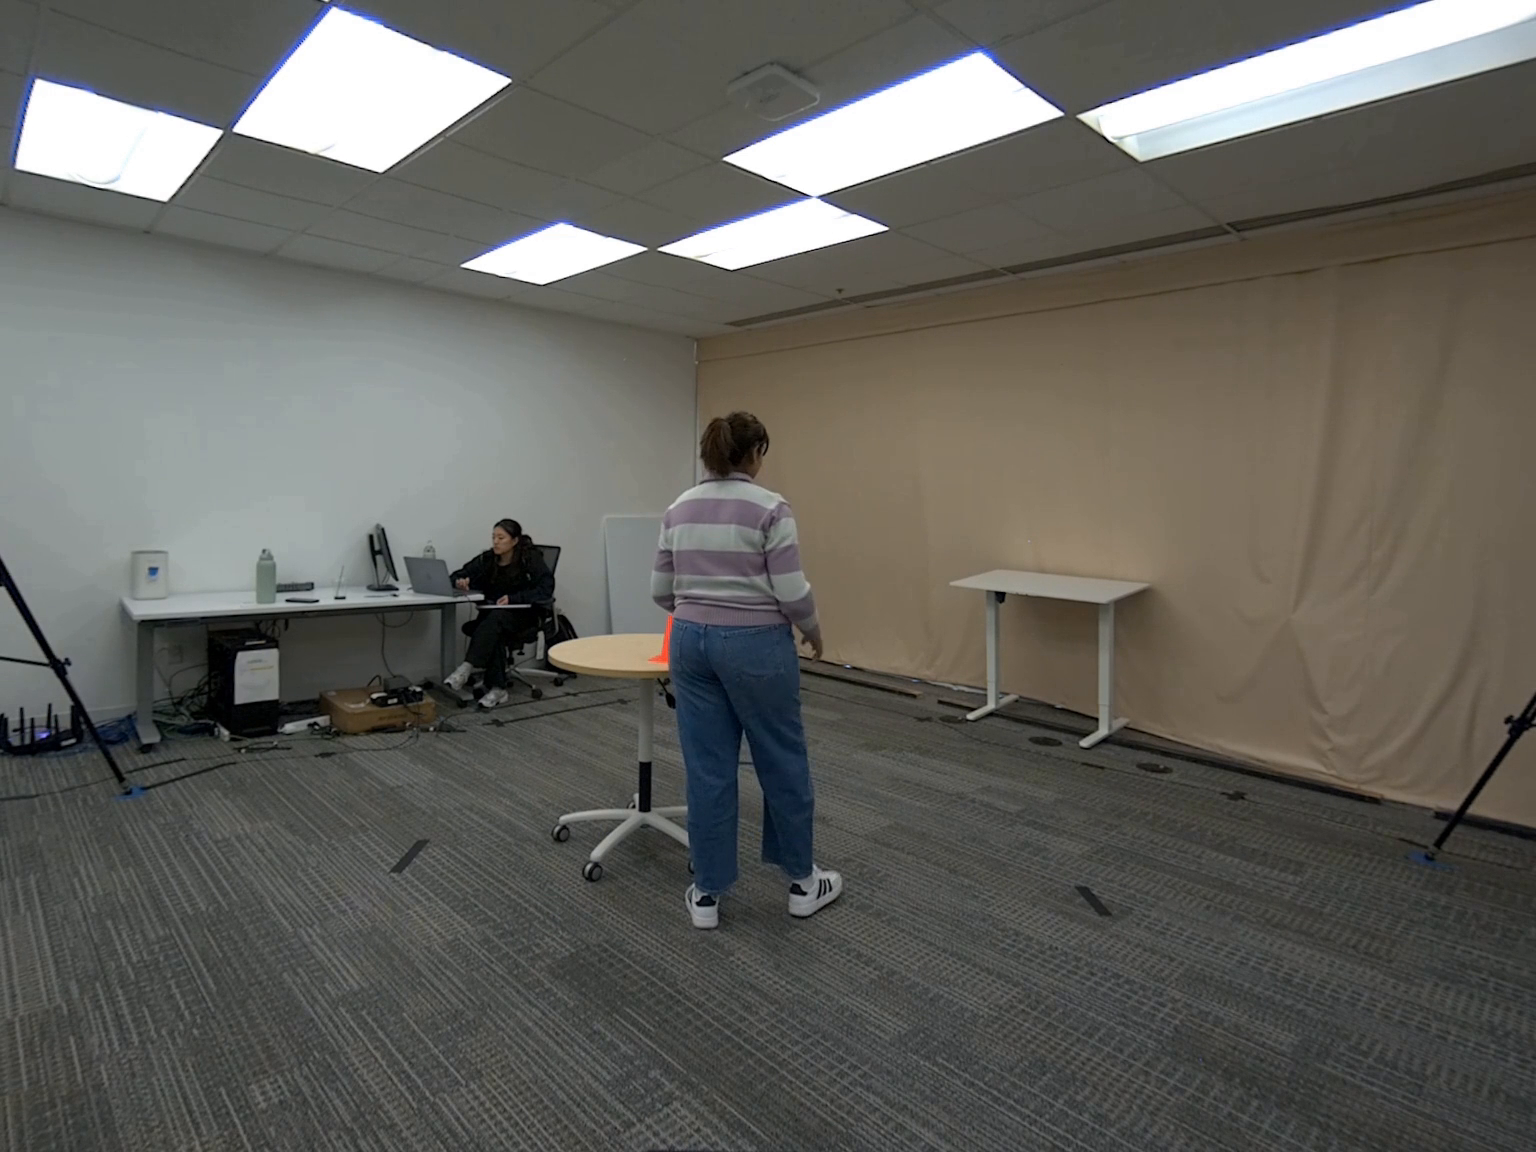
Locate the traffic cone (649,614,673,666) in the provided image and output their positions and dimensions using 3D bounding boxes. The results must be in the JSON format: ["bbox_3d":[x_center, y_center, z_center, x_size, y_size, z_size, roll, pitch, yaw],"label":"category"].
[{"bbox_3d":[-0.321,0.125,3.143,0.206,0.382,0.202,4,5,18],"label":"traffic cone"}]
